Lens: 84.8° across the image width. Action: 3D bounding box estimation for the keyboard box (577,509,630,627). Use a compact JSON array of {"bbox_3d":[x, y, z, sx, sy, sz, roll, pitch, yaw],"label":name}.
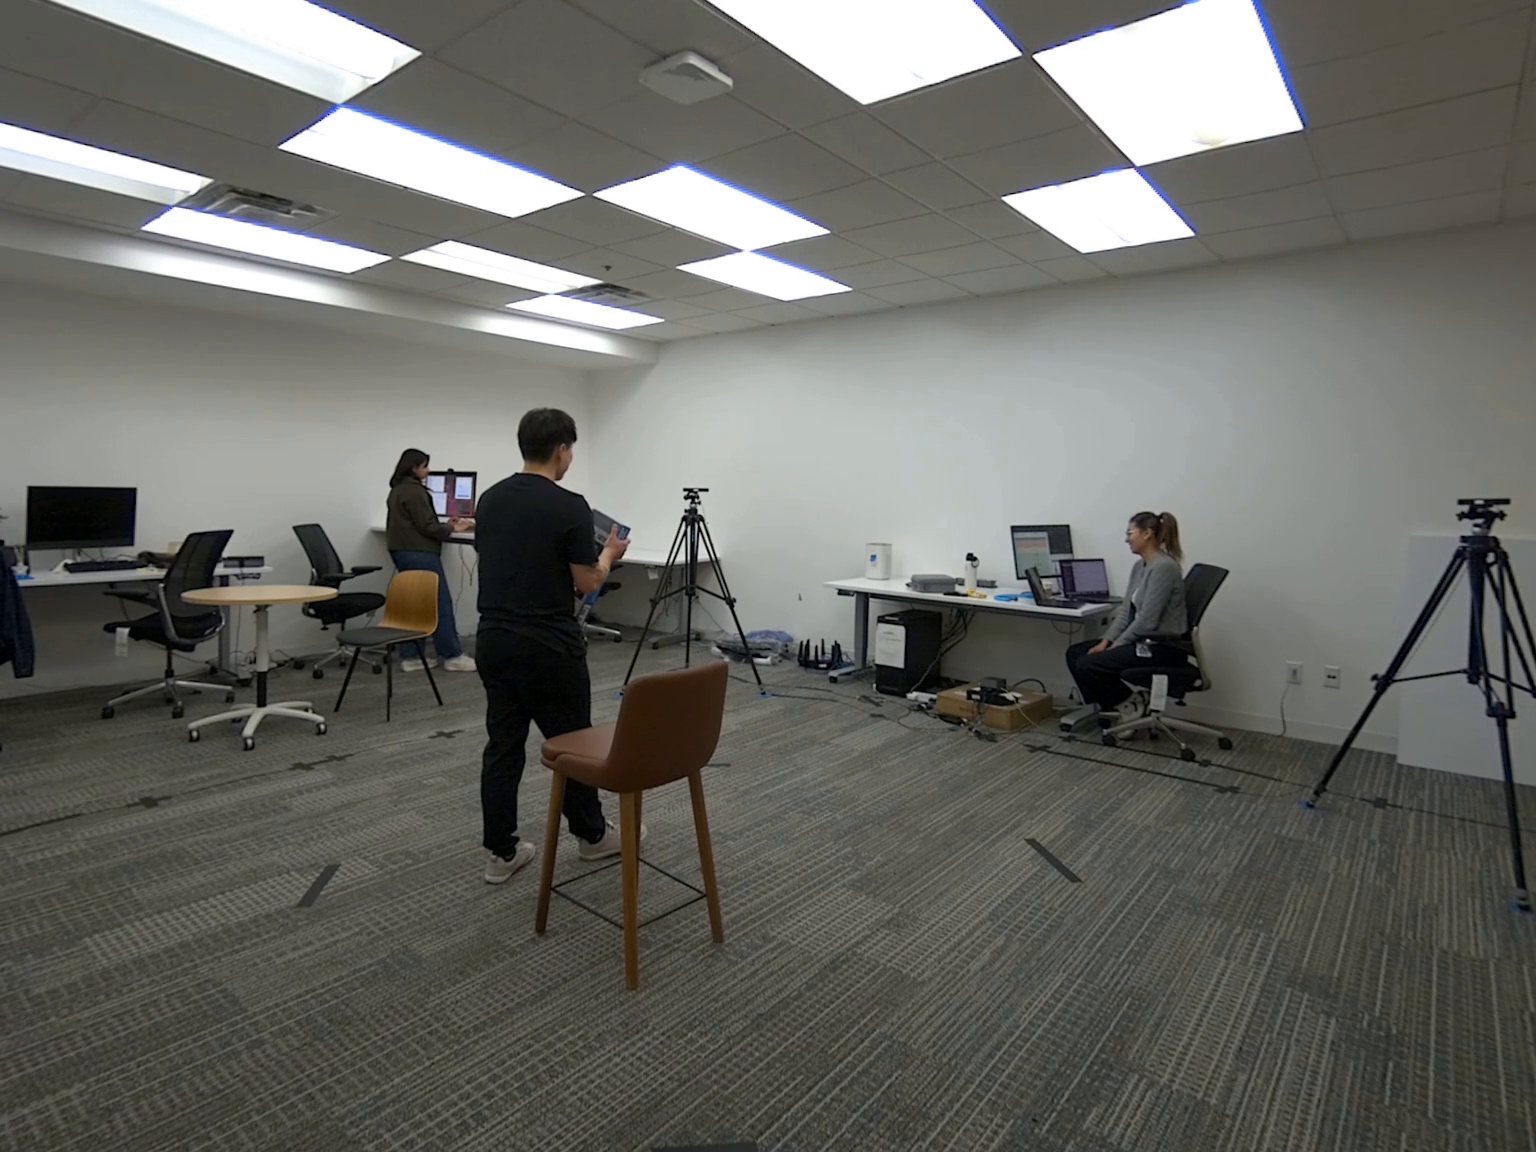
[{"bbox_3d":[-0.713,-0.032,3.310,0.183,0.436,0.057,29,4,34],"label":"keyboard box"}]
